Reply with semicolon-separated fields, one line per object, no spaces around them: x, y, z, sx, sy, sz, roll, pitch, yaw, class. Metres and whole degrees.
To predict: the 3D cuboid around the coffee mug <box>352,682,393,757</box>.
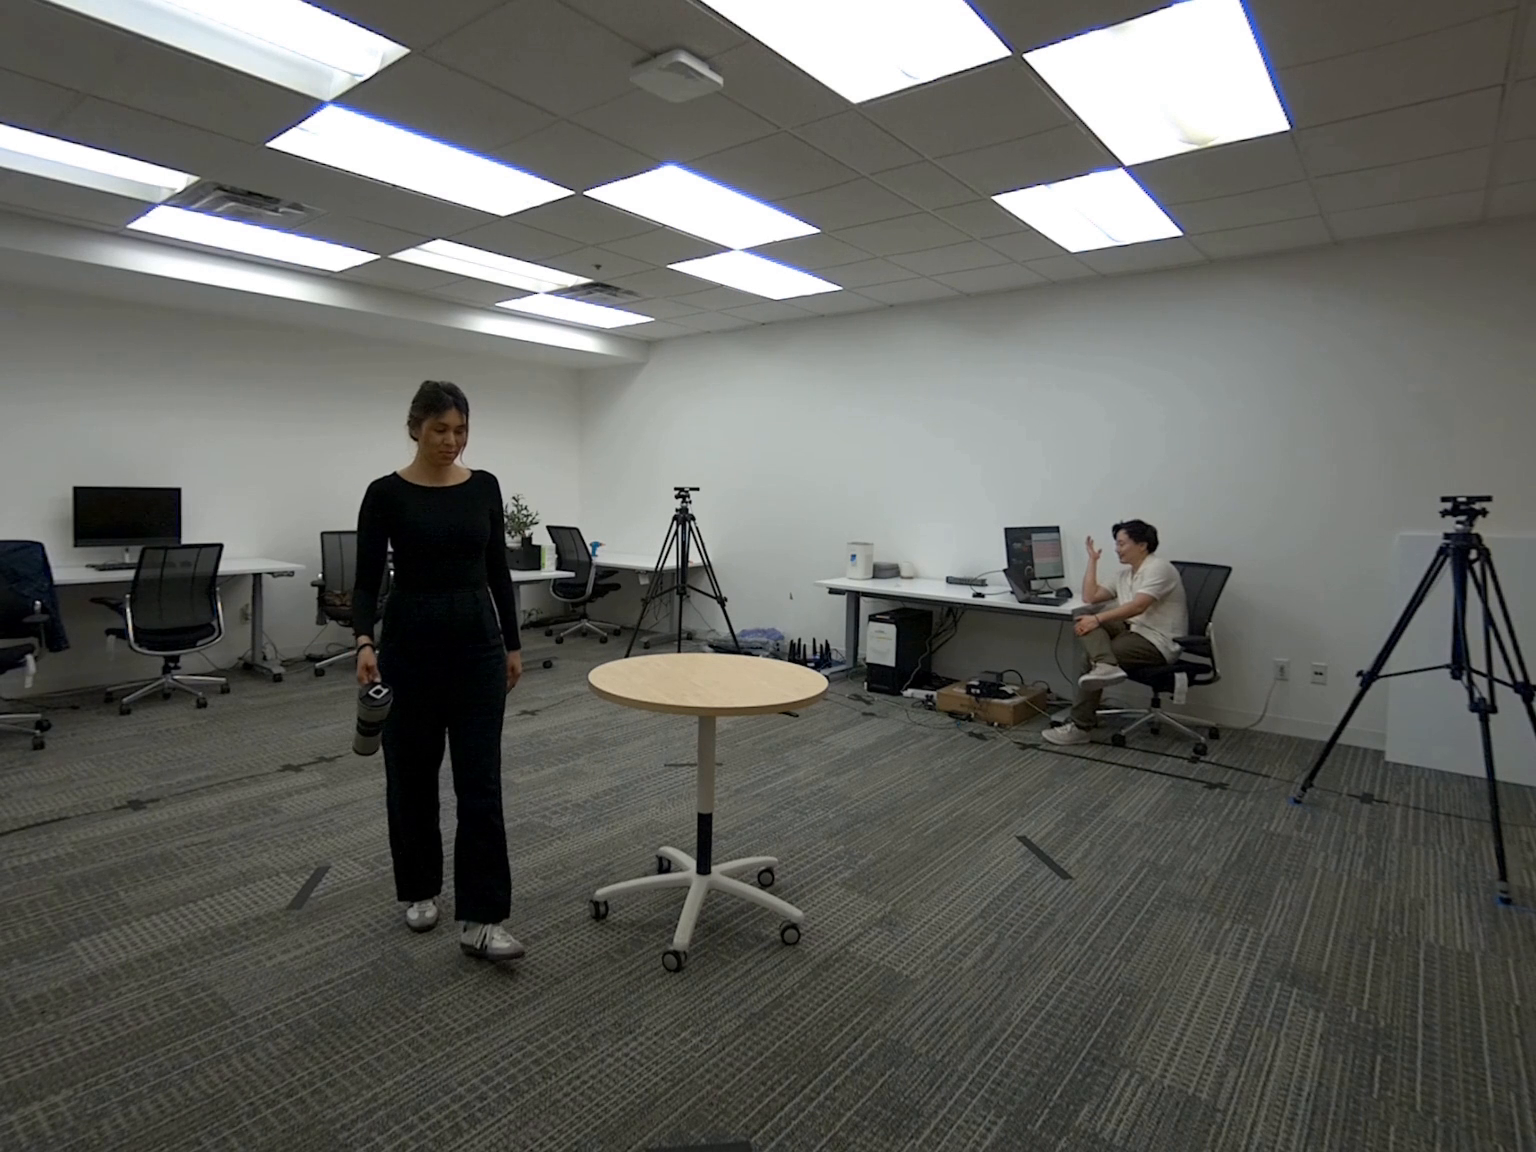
-1.087;0.390;2.336;0.091;0.200;0.119;32;30;29;coffee mug
